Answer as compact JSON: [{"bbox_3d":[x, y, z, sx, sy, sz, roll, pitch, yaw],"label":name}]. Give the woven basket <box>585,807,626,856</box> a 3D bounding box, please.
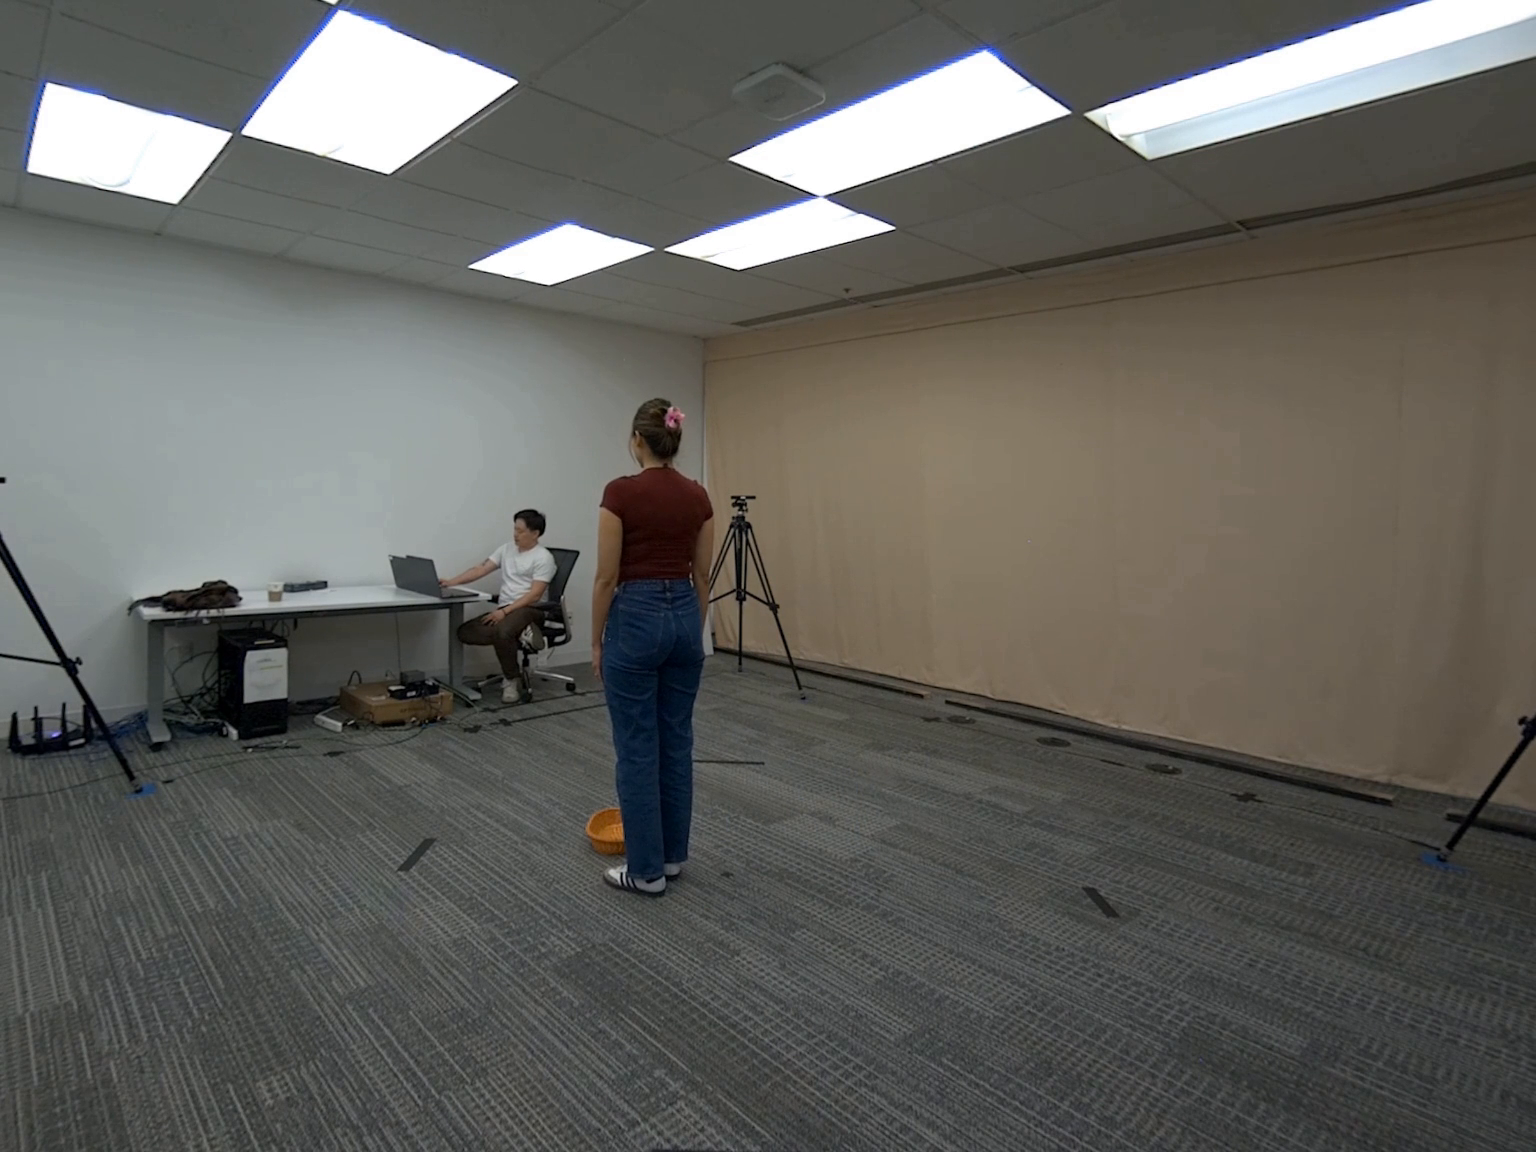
[{"bbox_3d":[-0.608,1.028,3.389,0.253,0.073,0.351,3,5,1],"label":"woven basket"}]
